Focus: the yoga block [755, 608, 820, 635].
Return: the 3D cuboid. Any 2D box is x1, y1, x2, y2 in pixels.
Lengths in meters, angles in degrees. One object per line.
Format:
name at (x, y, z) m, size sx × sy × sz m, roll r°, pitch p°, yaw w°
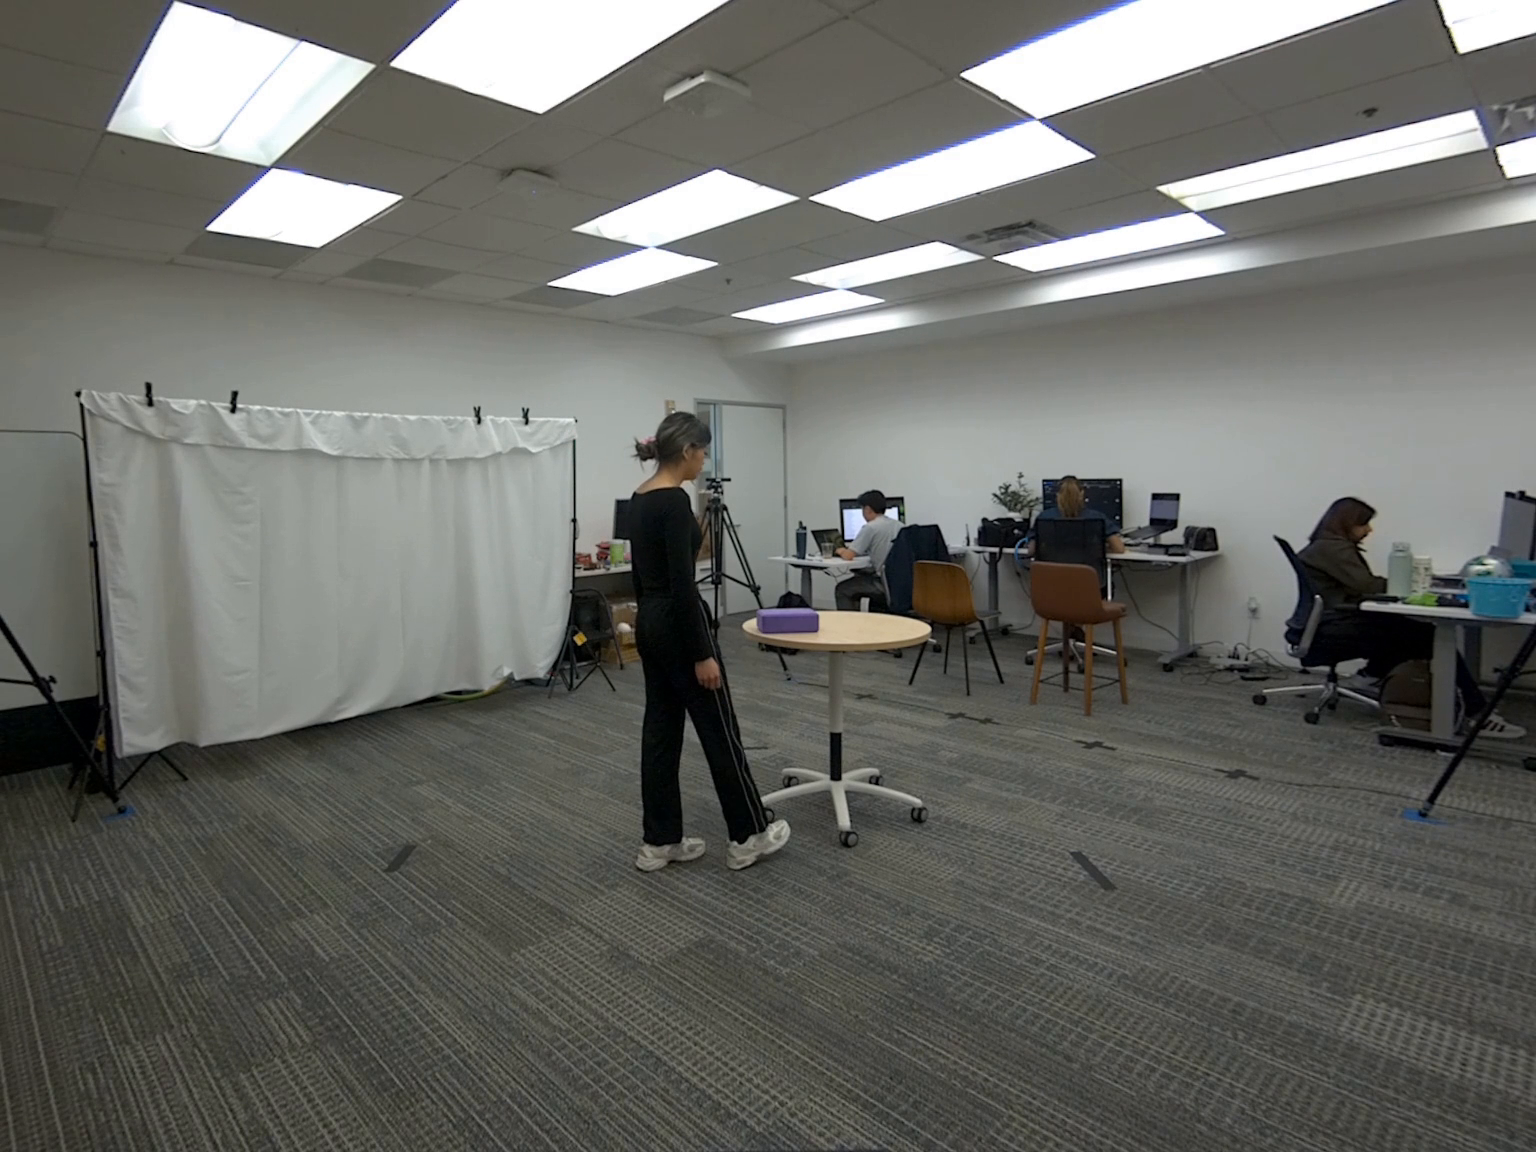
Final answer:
yoga block at (0.089, 0.179, 3.424) m, size 0.228 × 0.076 × 0.150 m, roll -2°, pitch 5°, yaw -4°
